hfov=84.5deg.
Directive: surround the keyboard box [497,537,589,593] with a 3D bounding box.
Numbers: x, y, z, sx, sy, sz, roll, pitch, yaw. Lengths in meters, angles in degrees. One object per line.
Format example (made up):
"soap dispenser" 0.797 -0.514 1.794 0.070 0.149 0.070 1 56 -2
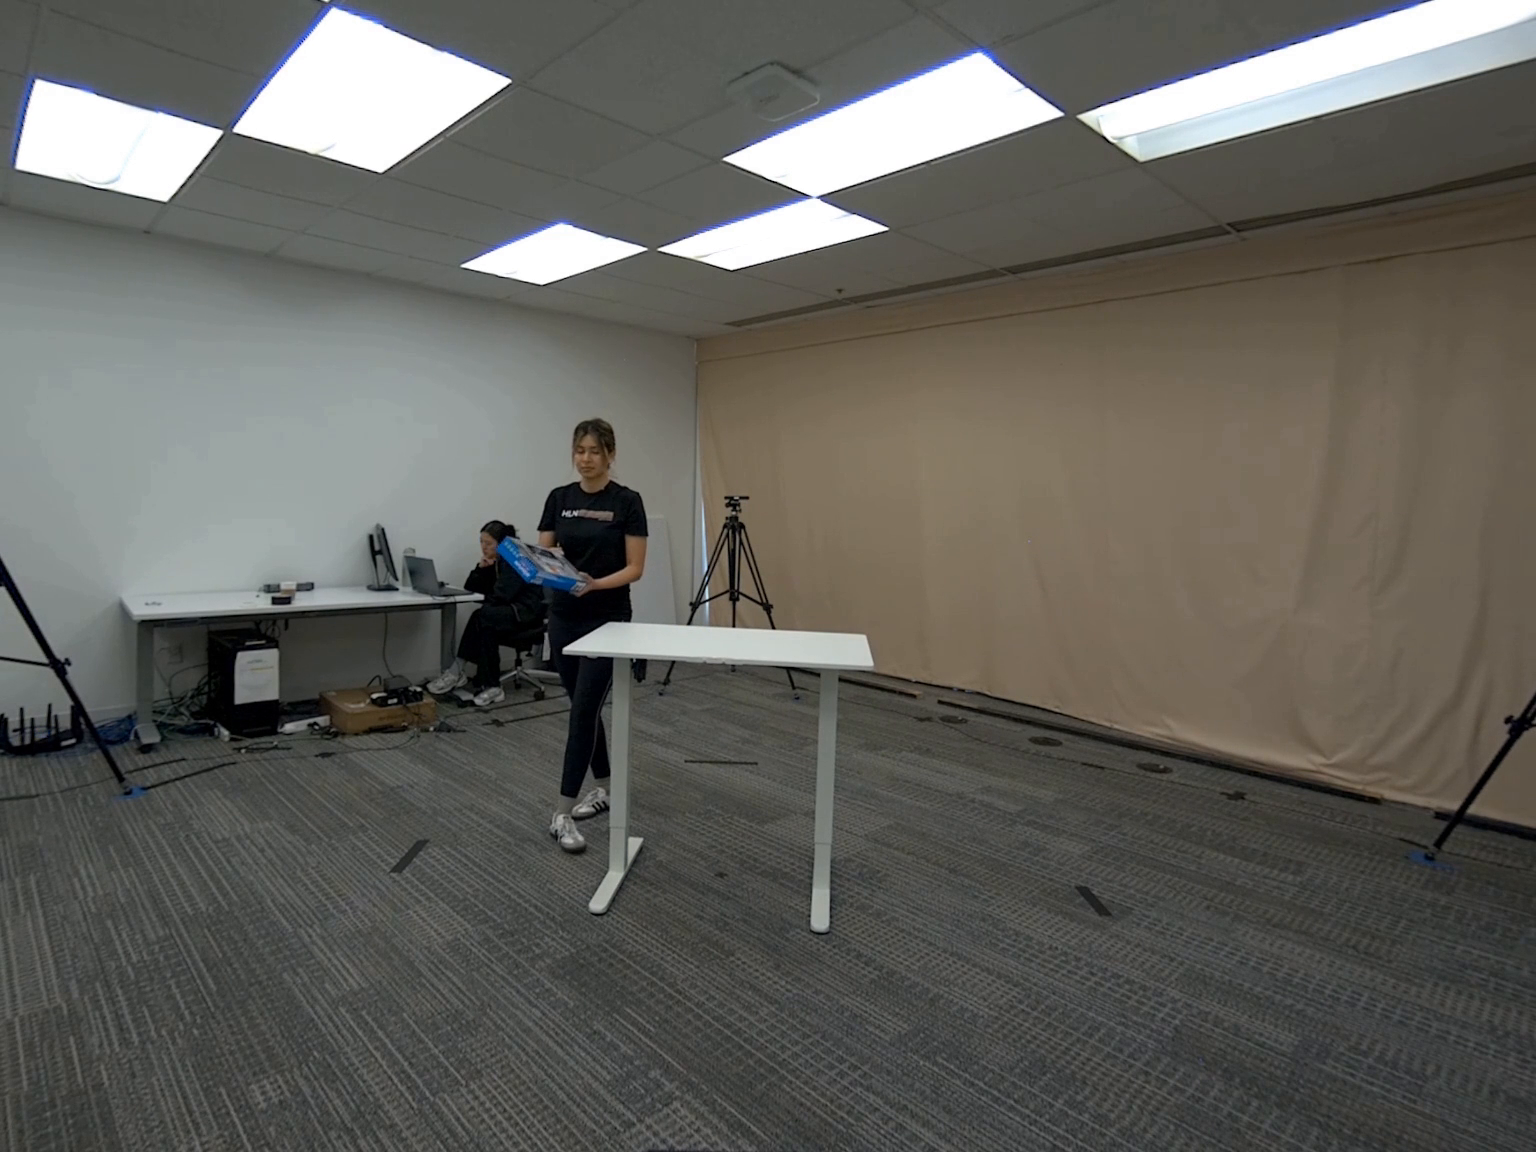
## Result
"keyboard box" -0.813 -0.034 3.024 0.178 0.059 0.430 44 3 12
